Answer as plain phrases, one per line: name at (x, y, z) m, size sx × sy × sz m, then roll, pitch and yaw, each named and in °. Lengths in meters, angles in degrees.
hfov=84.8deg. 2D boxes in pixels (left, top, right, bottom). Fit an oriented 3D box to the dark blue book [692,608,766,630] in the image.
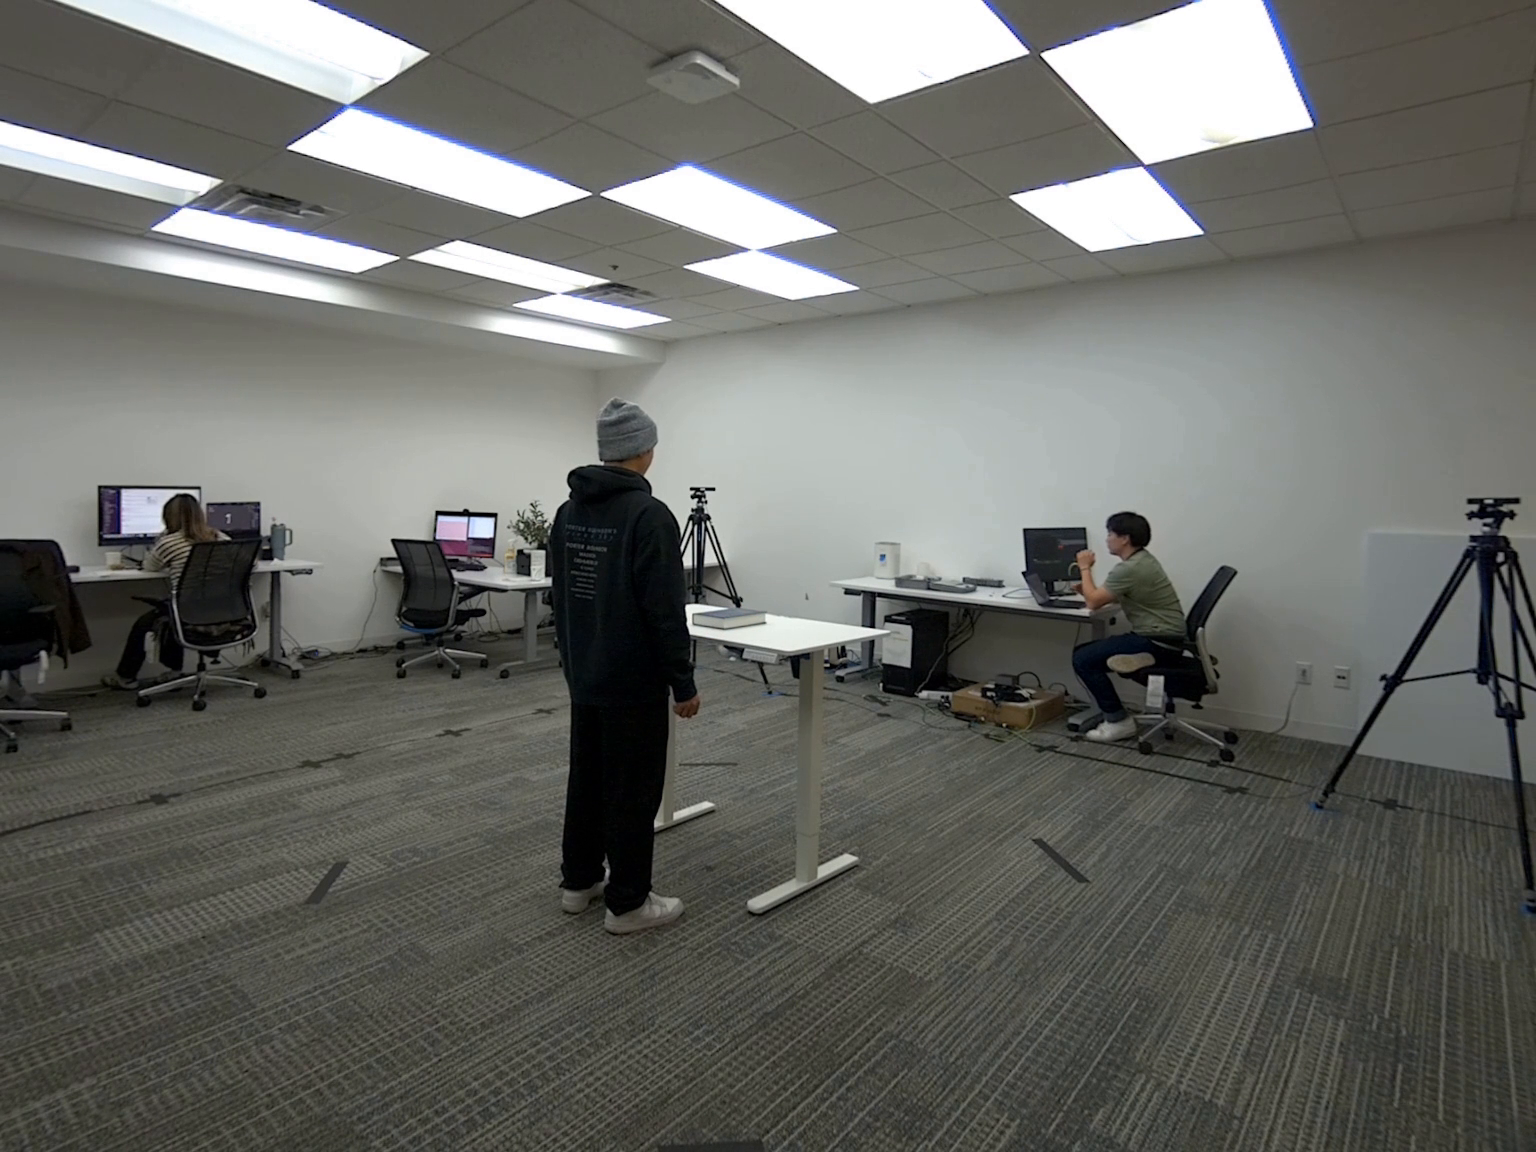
dark blue book at (-0.152, 0.157, 3.193) m, size 0.169 × 0.045 × 0.238 m, roll 5°, pitch 6°, yaw 40°
